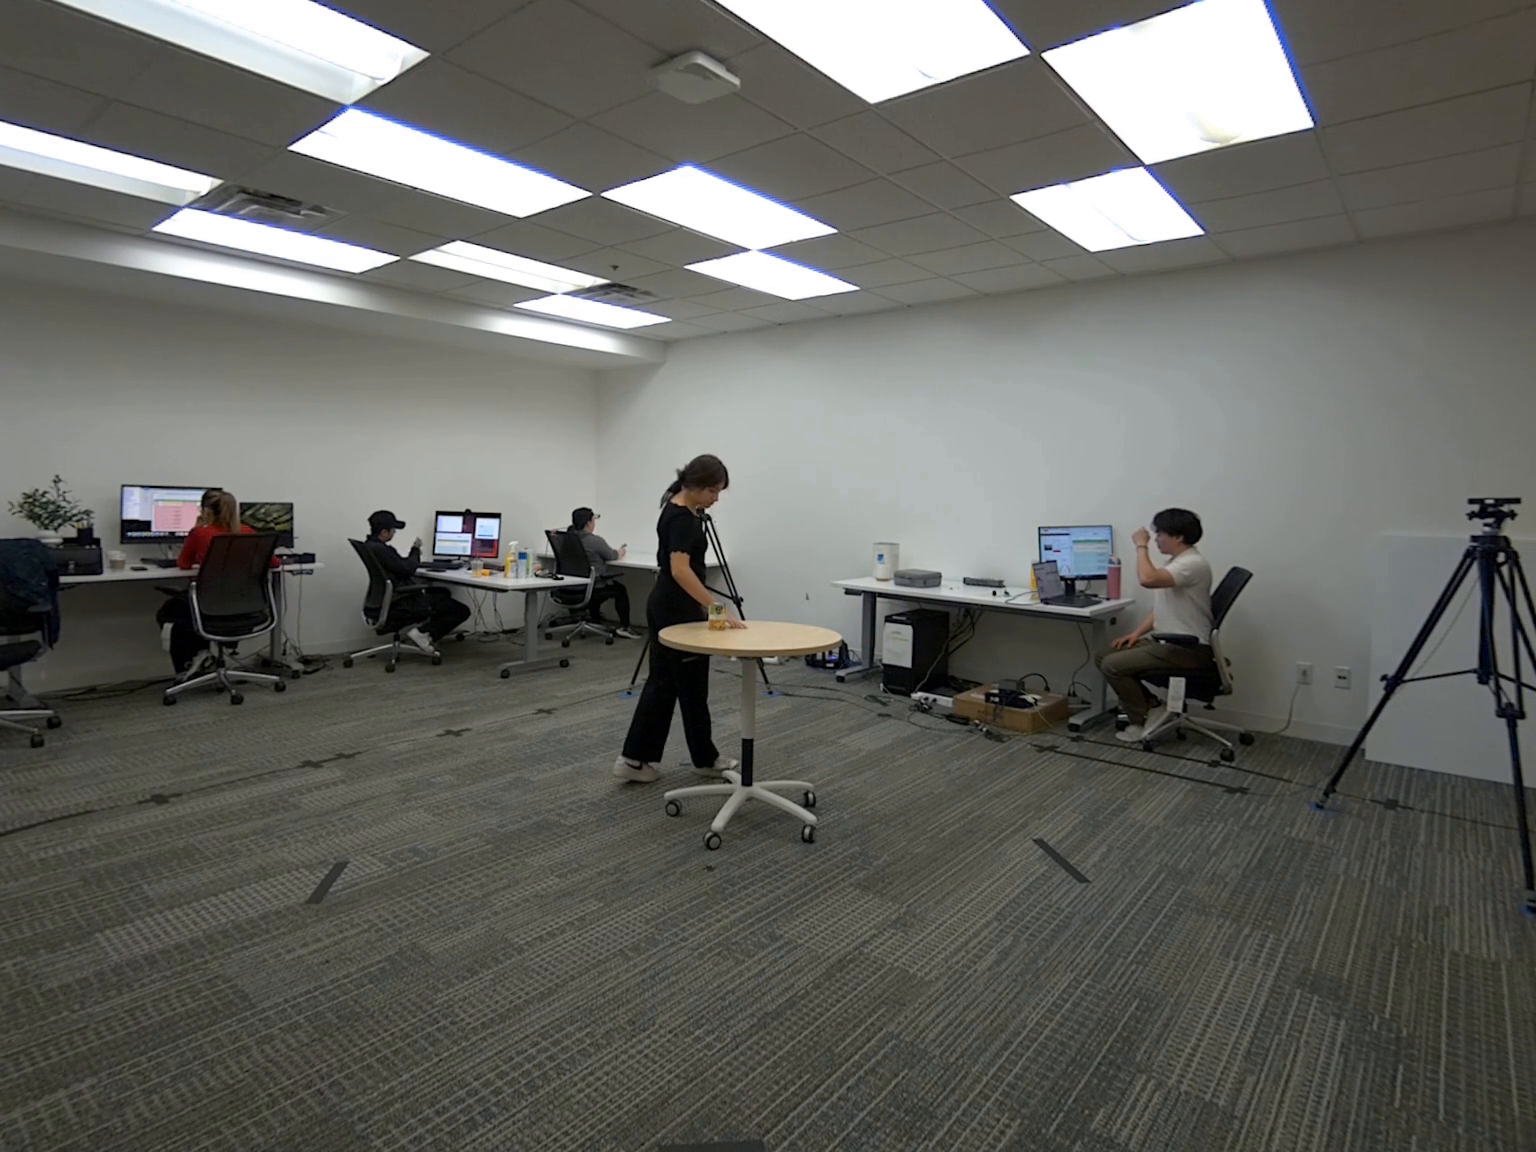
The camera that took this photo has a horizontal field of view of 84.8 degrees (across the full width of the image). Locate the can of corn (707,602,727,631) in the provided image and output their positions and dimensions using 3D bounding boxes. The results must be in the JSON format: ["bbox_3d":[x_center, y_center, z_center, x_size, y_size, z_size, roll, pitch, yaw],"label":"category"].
[{"bbox_3d":[-0.237,0.174,3.679,0.074,0.111,0.074,2,1,-2],"label":"can of corn"}]
